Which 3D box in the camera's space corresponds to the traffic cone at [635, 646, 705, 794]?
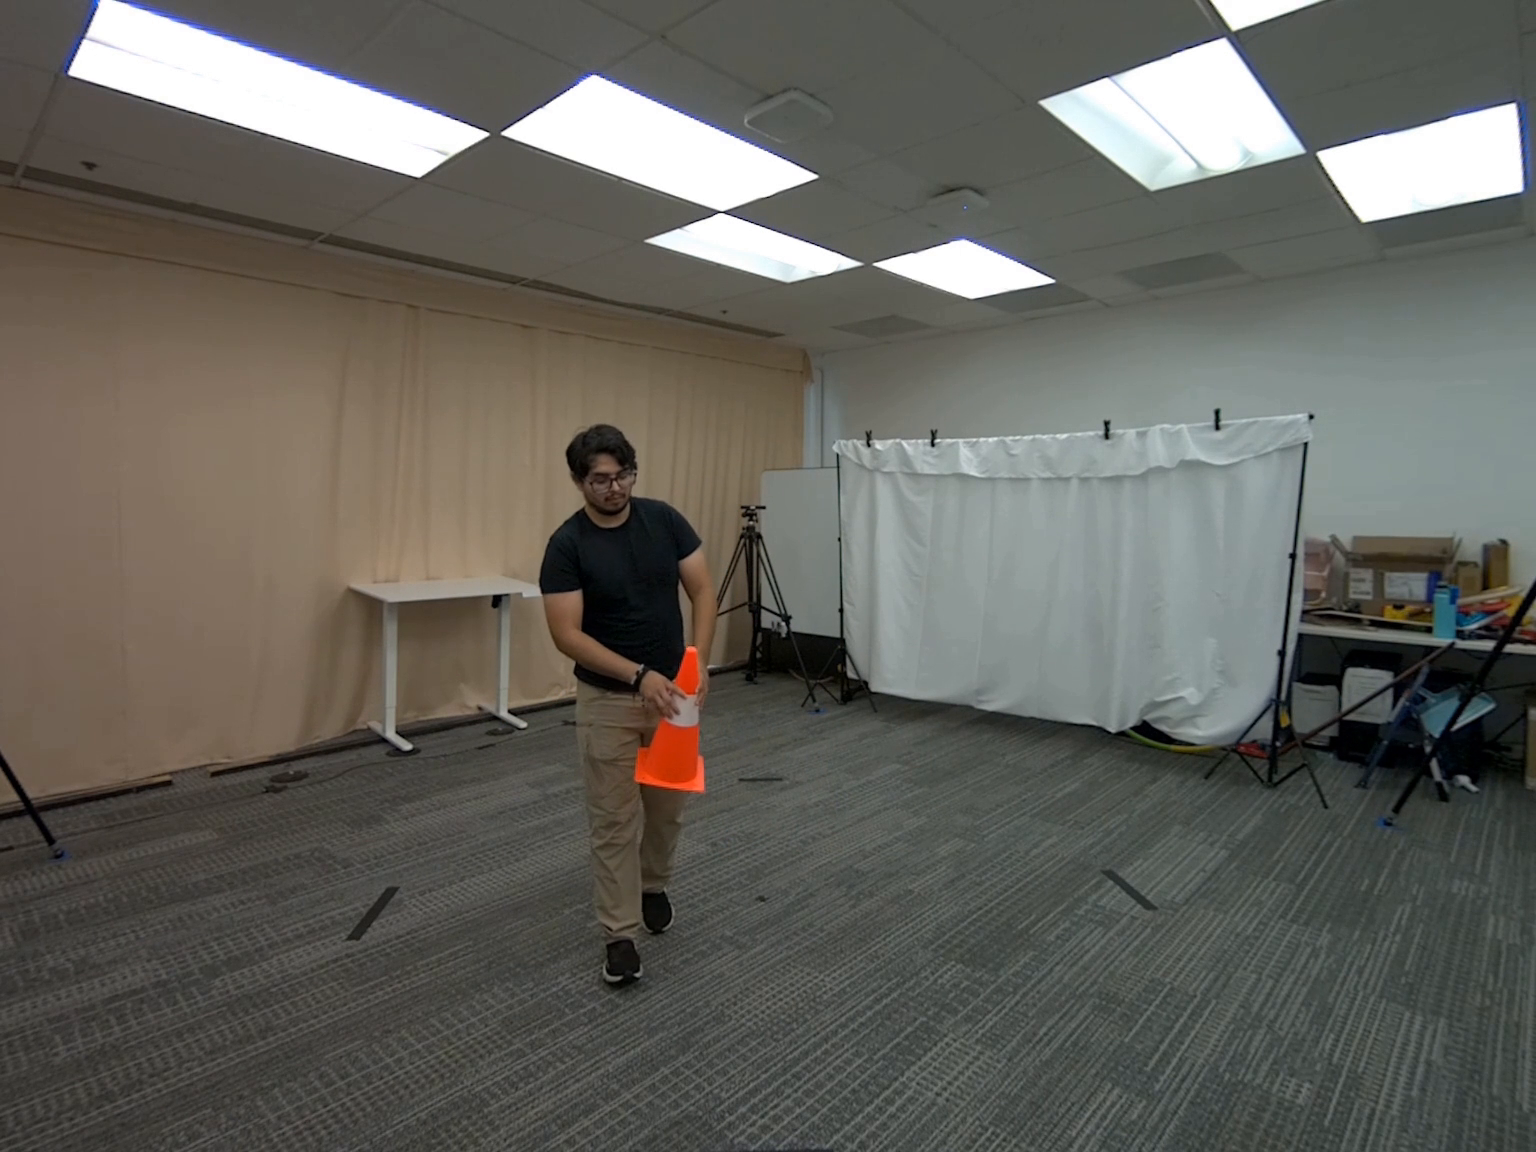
[{"bbox_3d":[-0.248,0.375,2.374,0.201,0.380,0.208,3,16,-9],"label":"traffic cone"}]
